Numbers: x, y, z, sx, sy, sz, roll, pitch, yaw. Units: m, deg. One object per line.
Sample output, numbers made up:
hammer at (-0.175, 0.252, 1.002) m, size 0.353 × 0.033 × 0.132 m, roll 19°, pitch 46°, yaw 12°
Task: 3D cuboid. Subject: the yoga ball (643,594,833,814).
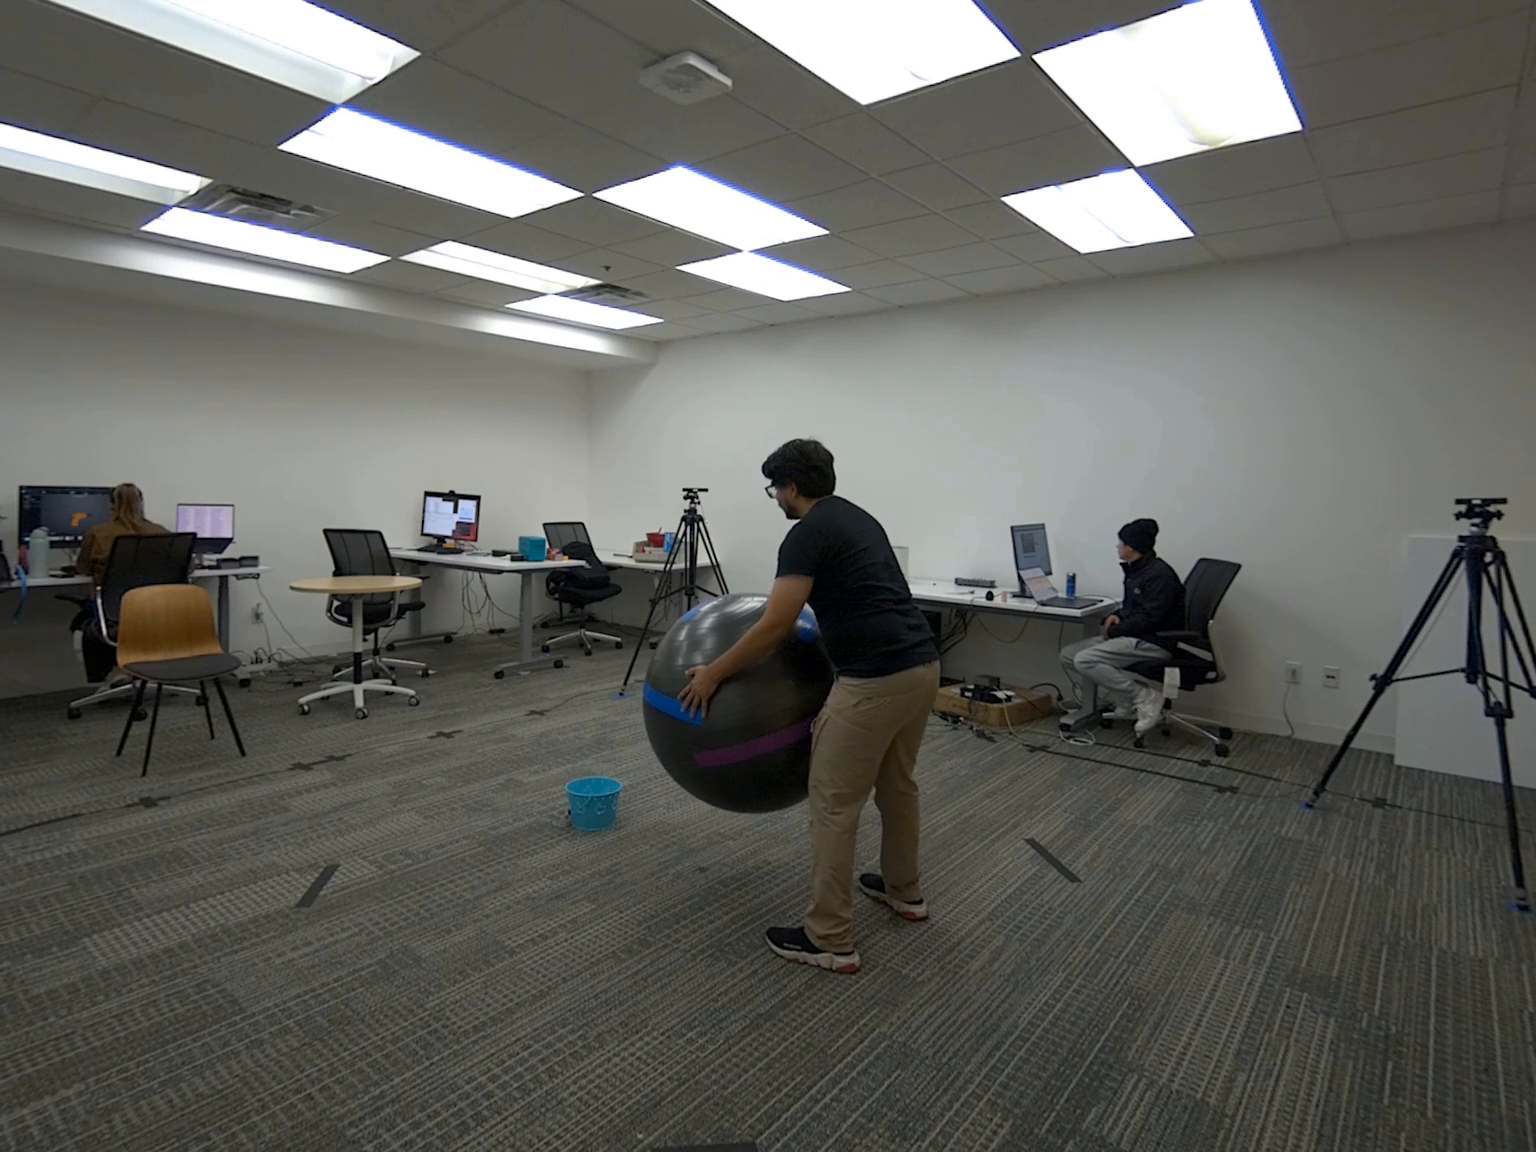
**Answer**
yoga ball at (-0.075, 0.445, 2.985) m, size 0.757 × 0.756 × 0.761 m, roll 1°, pitch 4°, yaw -2°
